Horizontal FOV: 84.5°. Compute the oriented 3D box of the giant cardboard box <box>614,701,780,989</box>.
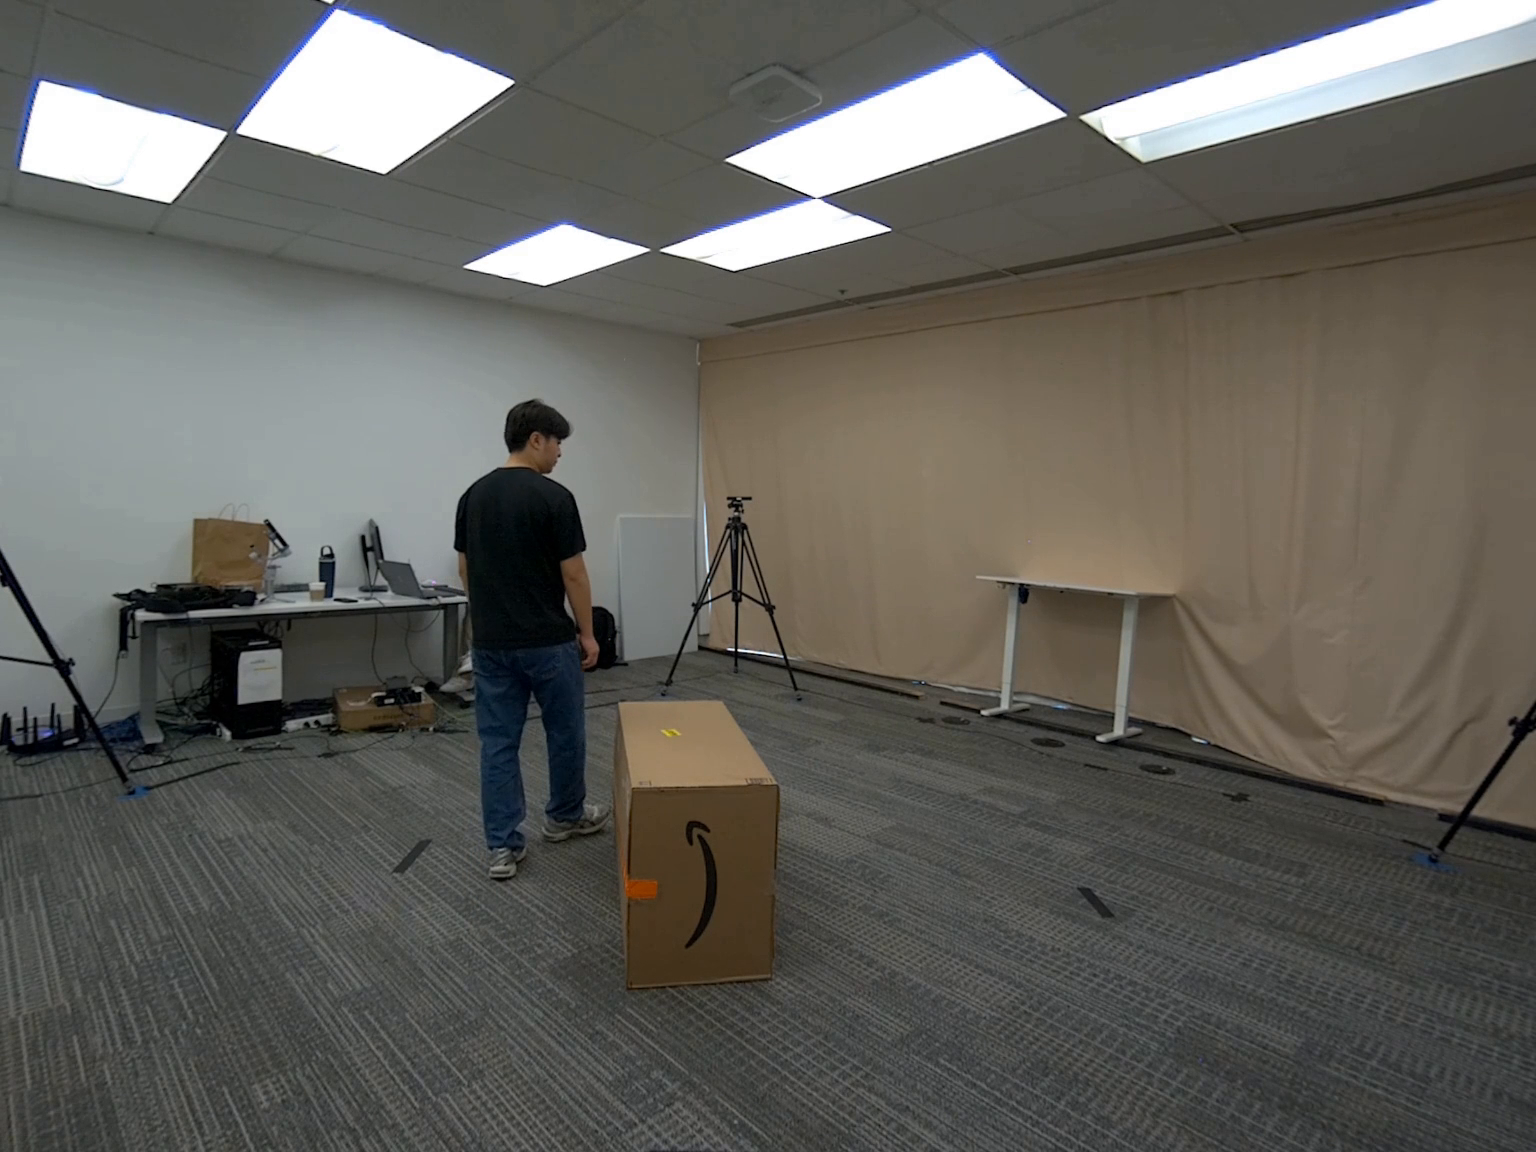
[{"bbox_3d":[-0.293,0.836,2.888,0.443,0.582,1.039,0,4,-12],"label":"giant cardboard box"}]
